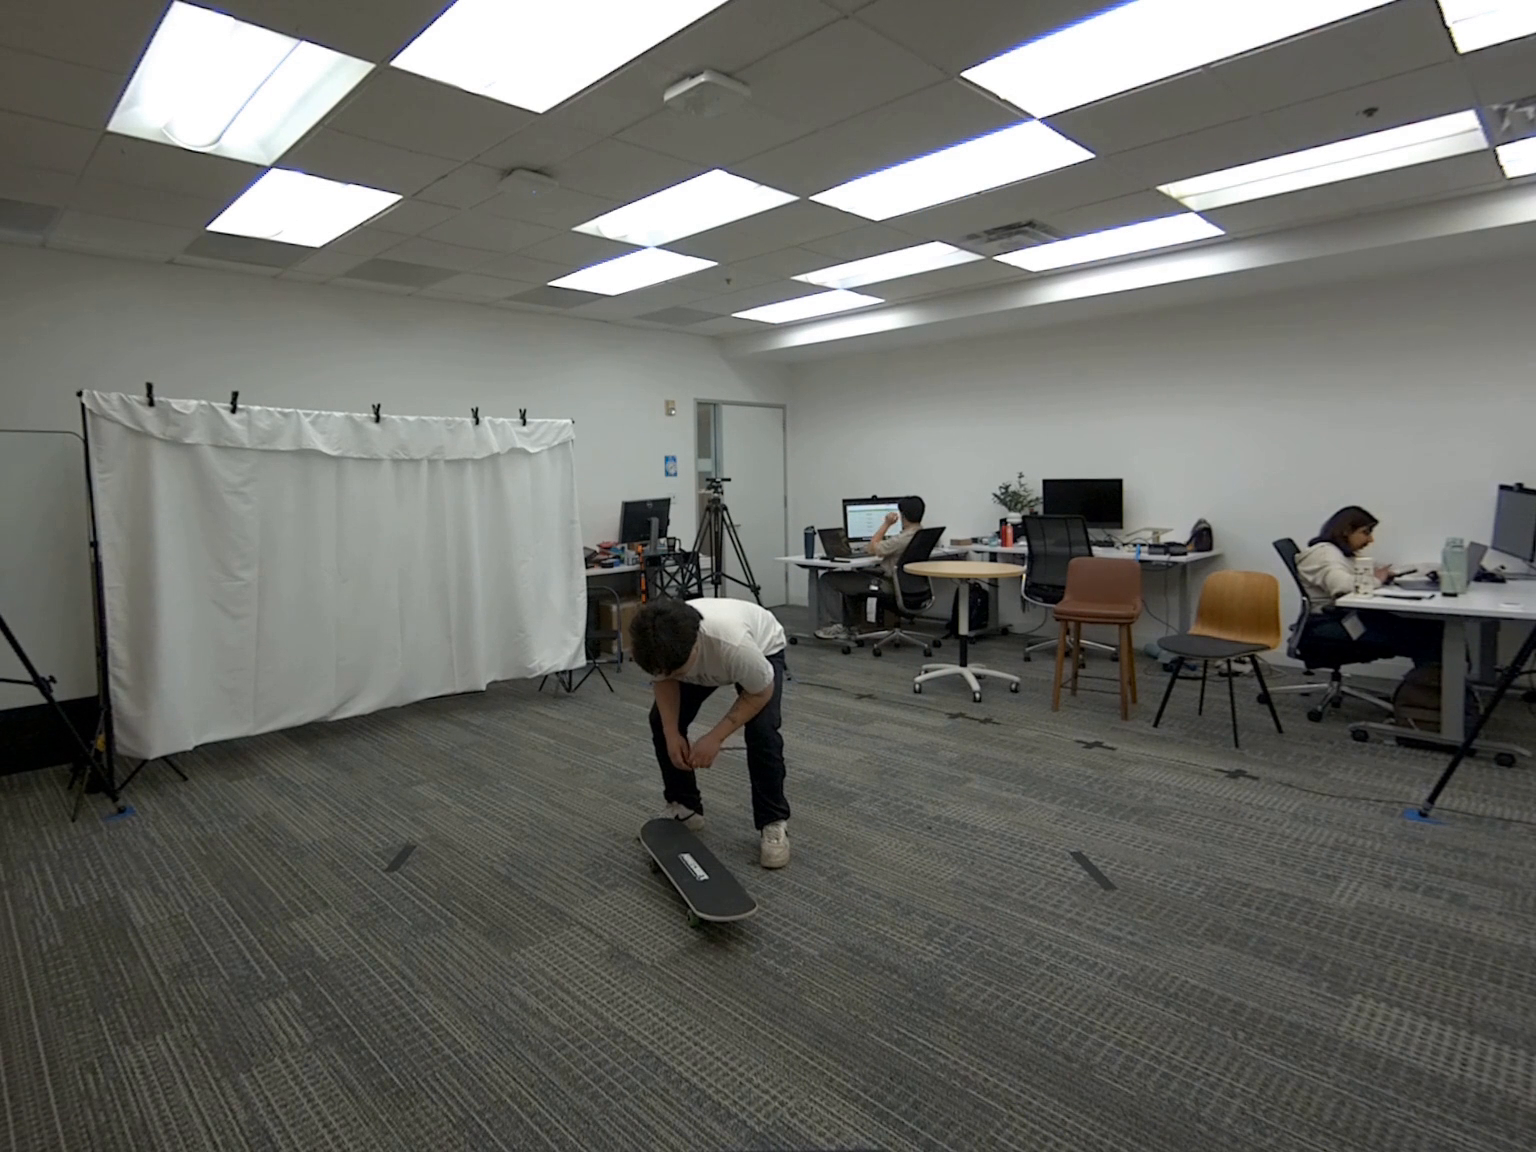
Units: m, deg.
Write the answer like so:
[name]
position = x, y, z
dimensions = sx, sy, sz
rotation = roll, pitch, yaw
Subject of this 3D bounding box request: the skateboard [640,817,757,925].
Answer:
[skateboard]
position = -0.248, 1.016, 2.887
dimensions = 0.190, 0.110, 0.804
rotation = -4, 7, -24
